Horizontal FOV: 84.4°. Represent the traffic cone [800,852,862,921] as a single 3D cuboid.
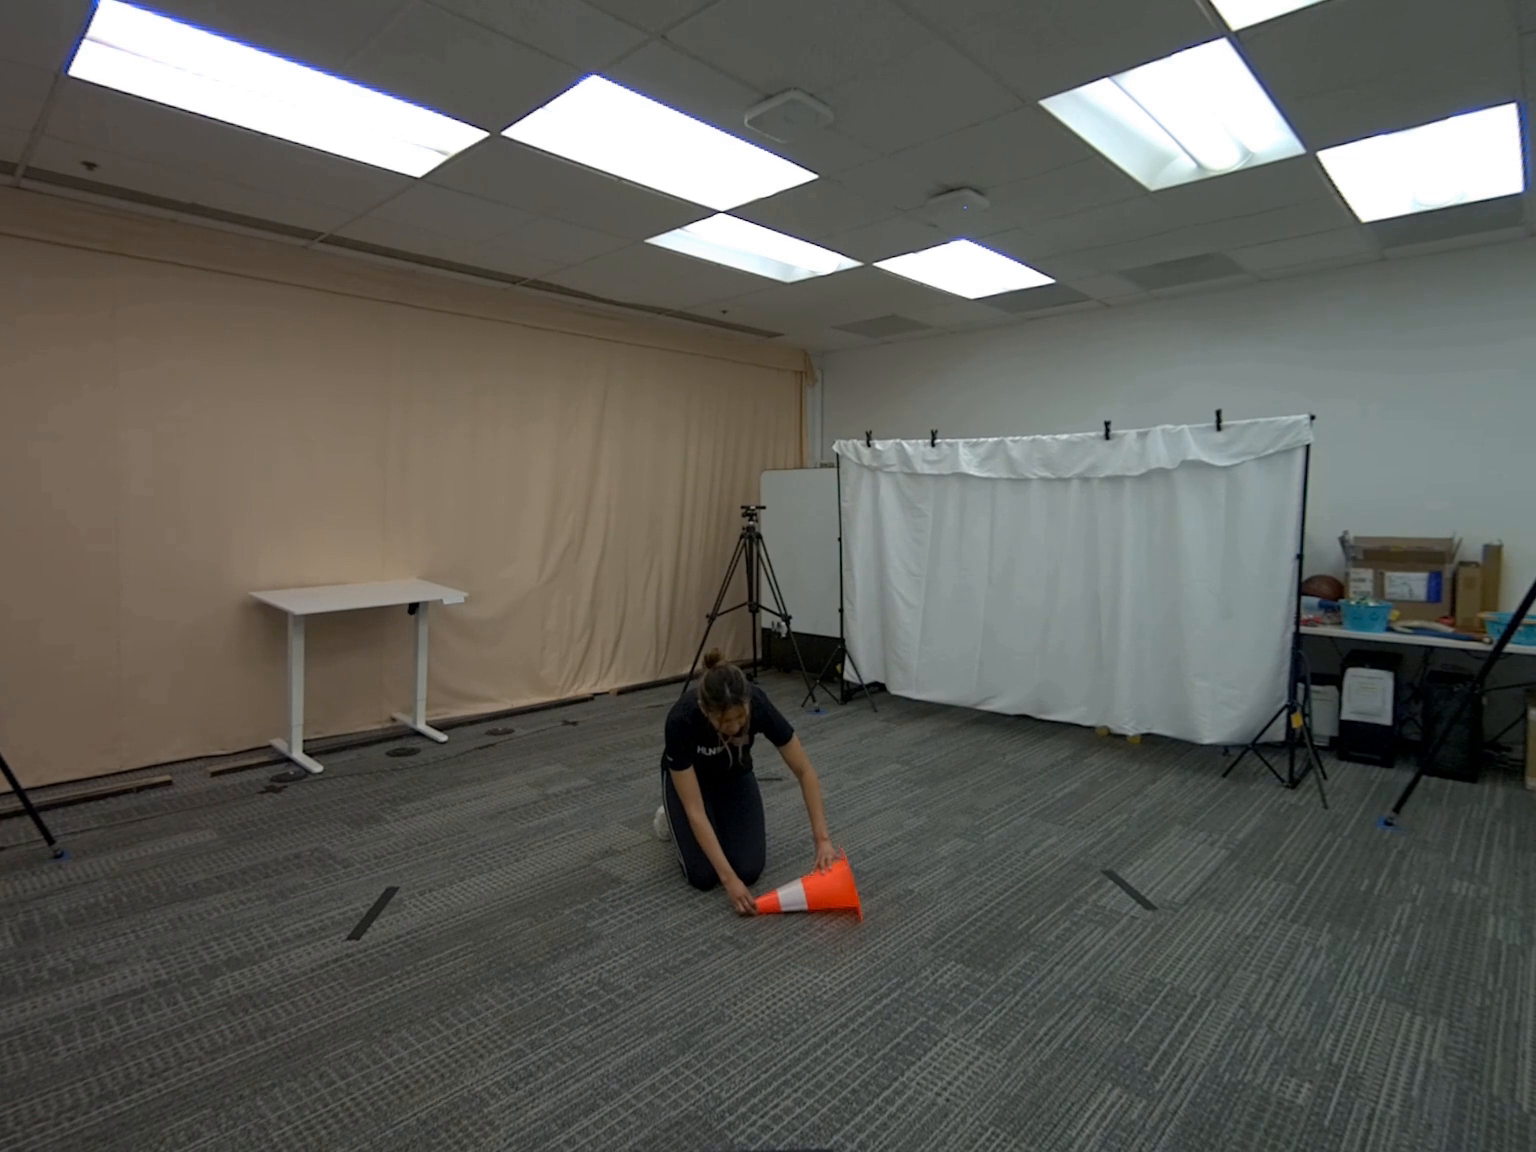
[{"bbox_3d":[0.105,1.102,2.884,0.384,0.205,0.203,-14,0,0],"label":"traffic cone"}]
